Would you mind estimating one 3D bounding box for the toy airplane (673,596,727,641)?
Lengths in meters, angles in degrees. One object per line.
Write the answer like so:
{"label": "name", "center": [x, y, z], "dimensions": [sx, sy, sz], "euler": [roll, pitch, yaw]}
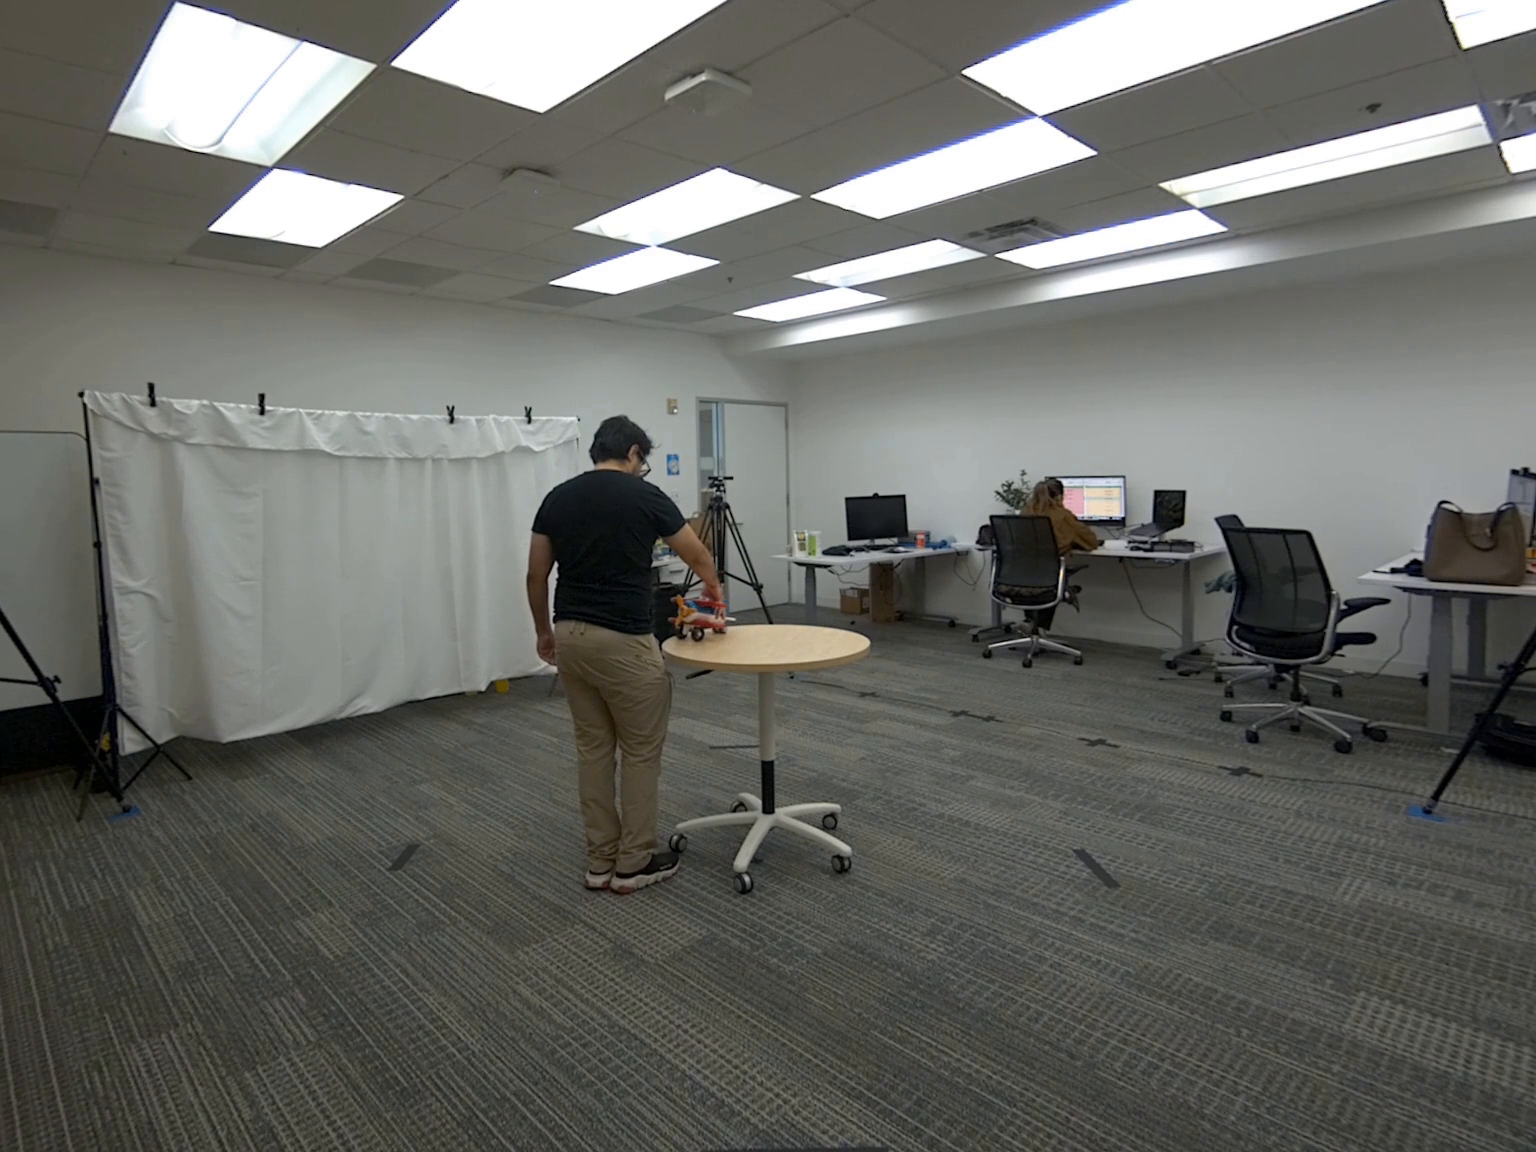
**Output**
{"label": "toy airplane", "center": [-0.264, 0.159, 3.314], "dimensions": [0.254, 0.155, 0.258], "euler": [0, 7, 11]}
